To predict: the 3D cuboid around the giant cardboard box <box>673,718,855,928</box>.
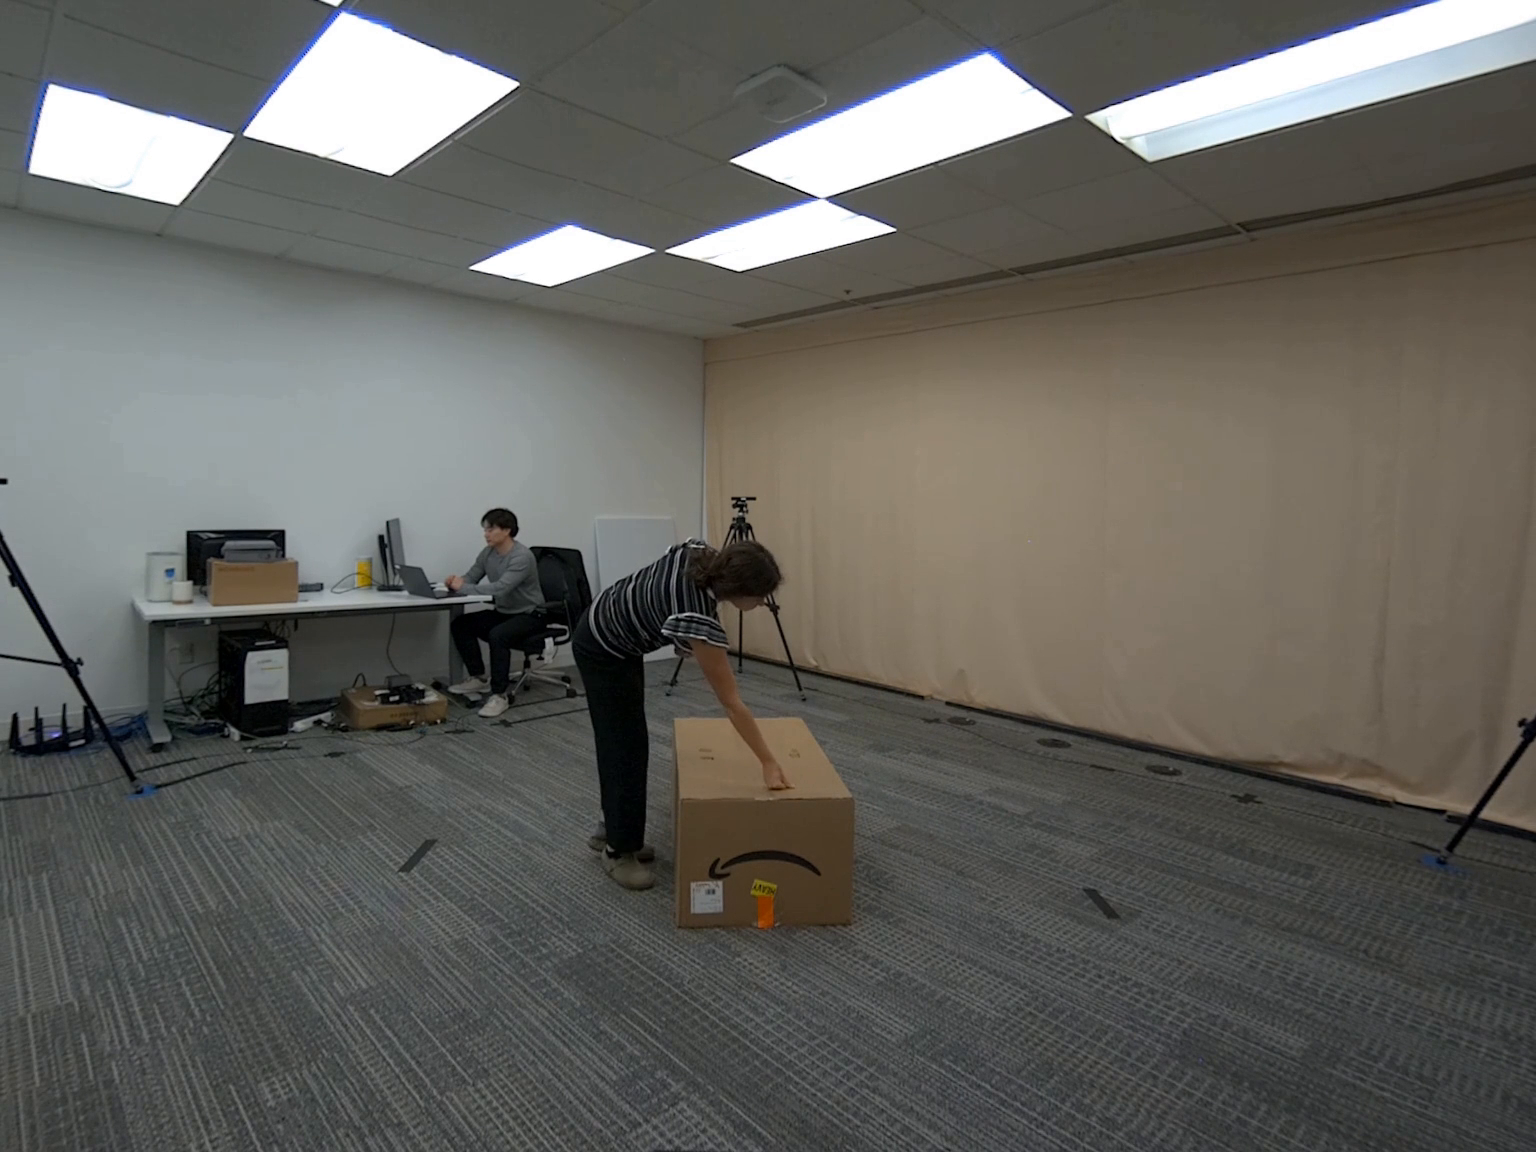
[{"bbox_3d":[-0.077,0.888,3.233,0.575,0.425,1.033,0,5,-7],"label":"giant cardboard box"}]
